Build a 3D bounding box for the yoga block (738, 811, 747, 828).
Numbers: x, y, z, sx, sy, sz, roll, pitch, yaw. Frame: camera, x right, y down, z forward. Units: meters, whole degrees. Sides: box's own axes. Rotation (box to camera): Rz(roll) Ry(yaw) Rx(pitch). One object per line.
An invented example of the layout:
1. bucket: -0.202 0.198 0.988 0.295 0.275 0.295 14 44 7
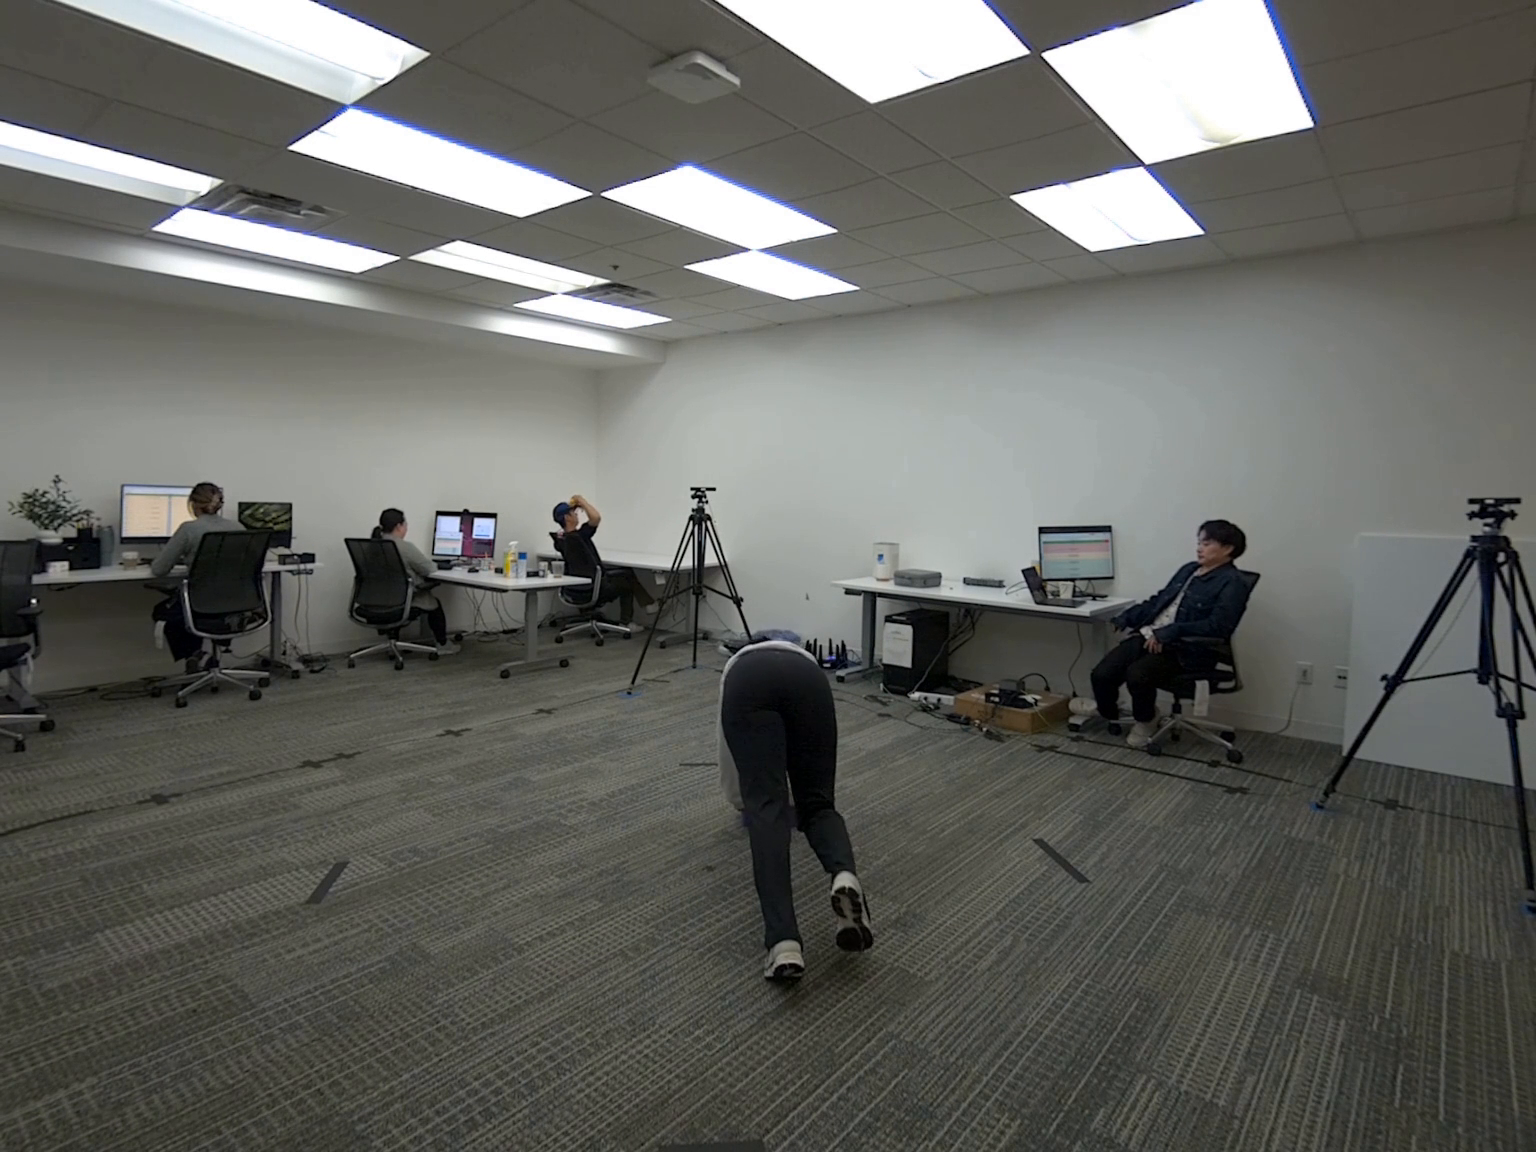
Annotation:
1. yoga block: 0.001 0.984 3.569 0.228 0.076 0.150 -1 5 -4
